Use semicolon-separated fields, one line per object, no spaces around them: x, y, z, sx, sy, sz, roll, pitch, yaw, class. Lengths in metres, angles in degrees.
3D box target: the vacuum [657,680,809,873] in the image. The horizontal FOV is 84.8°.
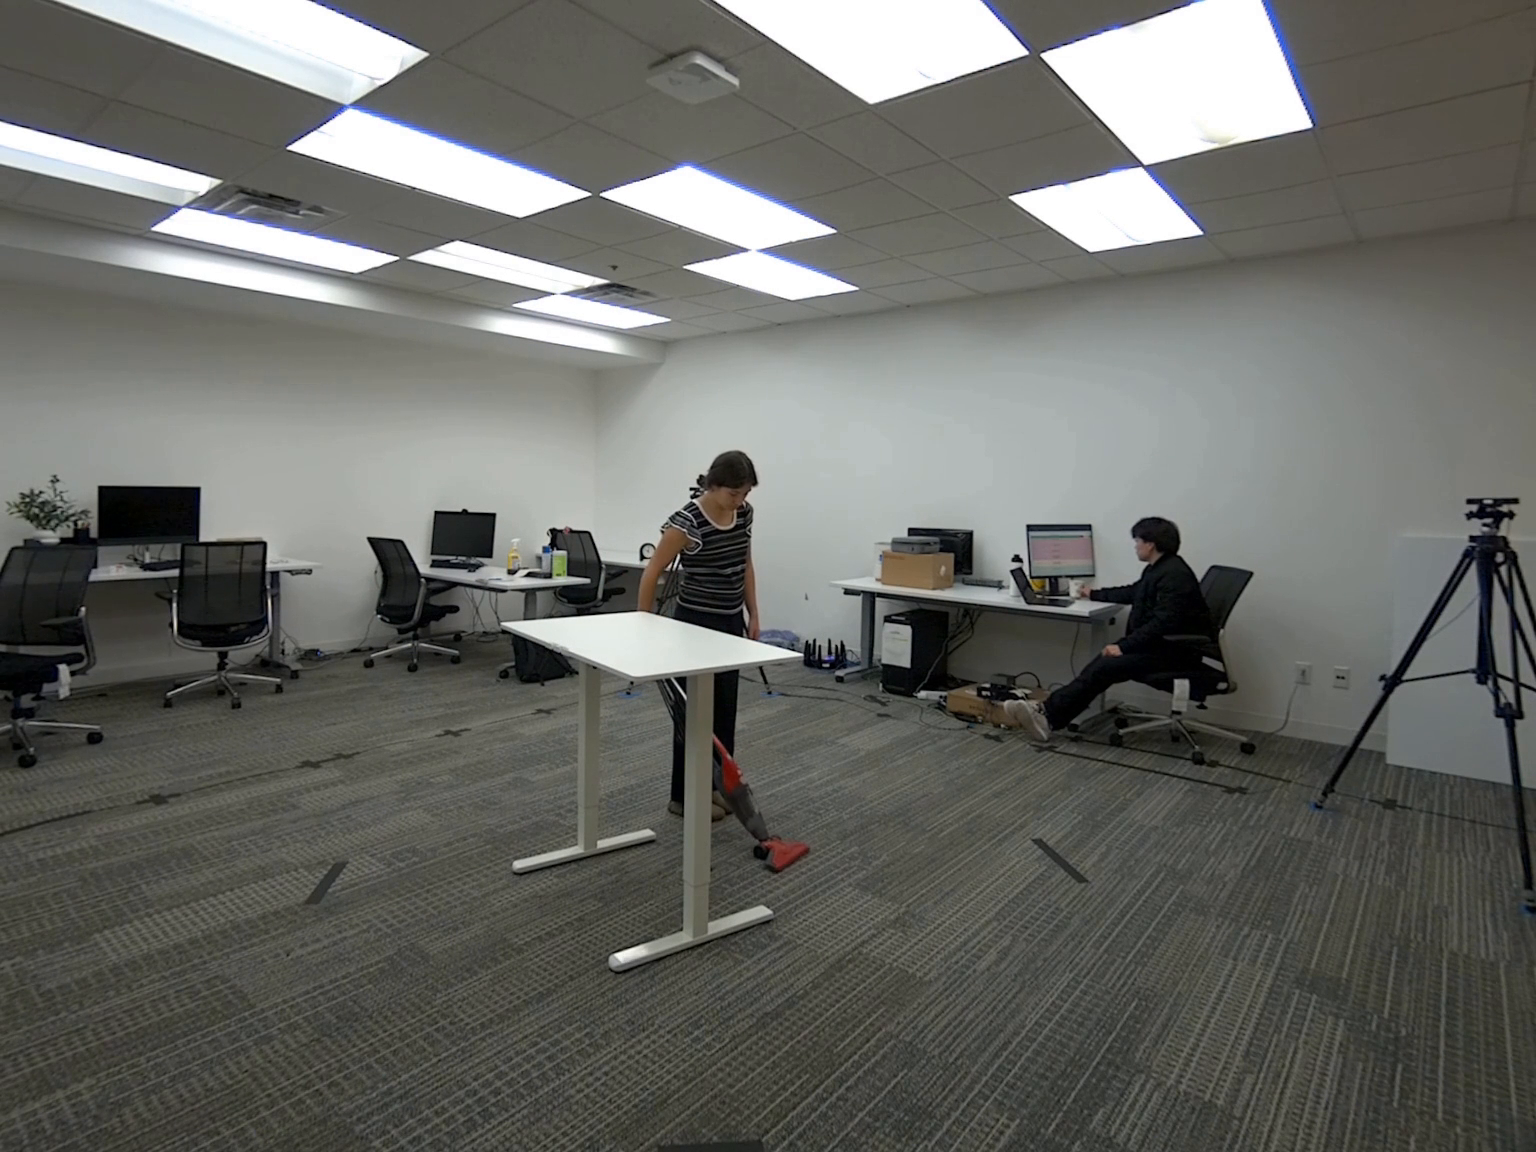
-0.252;0.665;3.404;1.080;0.144;0.245;51;20;21;vacuum
